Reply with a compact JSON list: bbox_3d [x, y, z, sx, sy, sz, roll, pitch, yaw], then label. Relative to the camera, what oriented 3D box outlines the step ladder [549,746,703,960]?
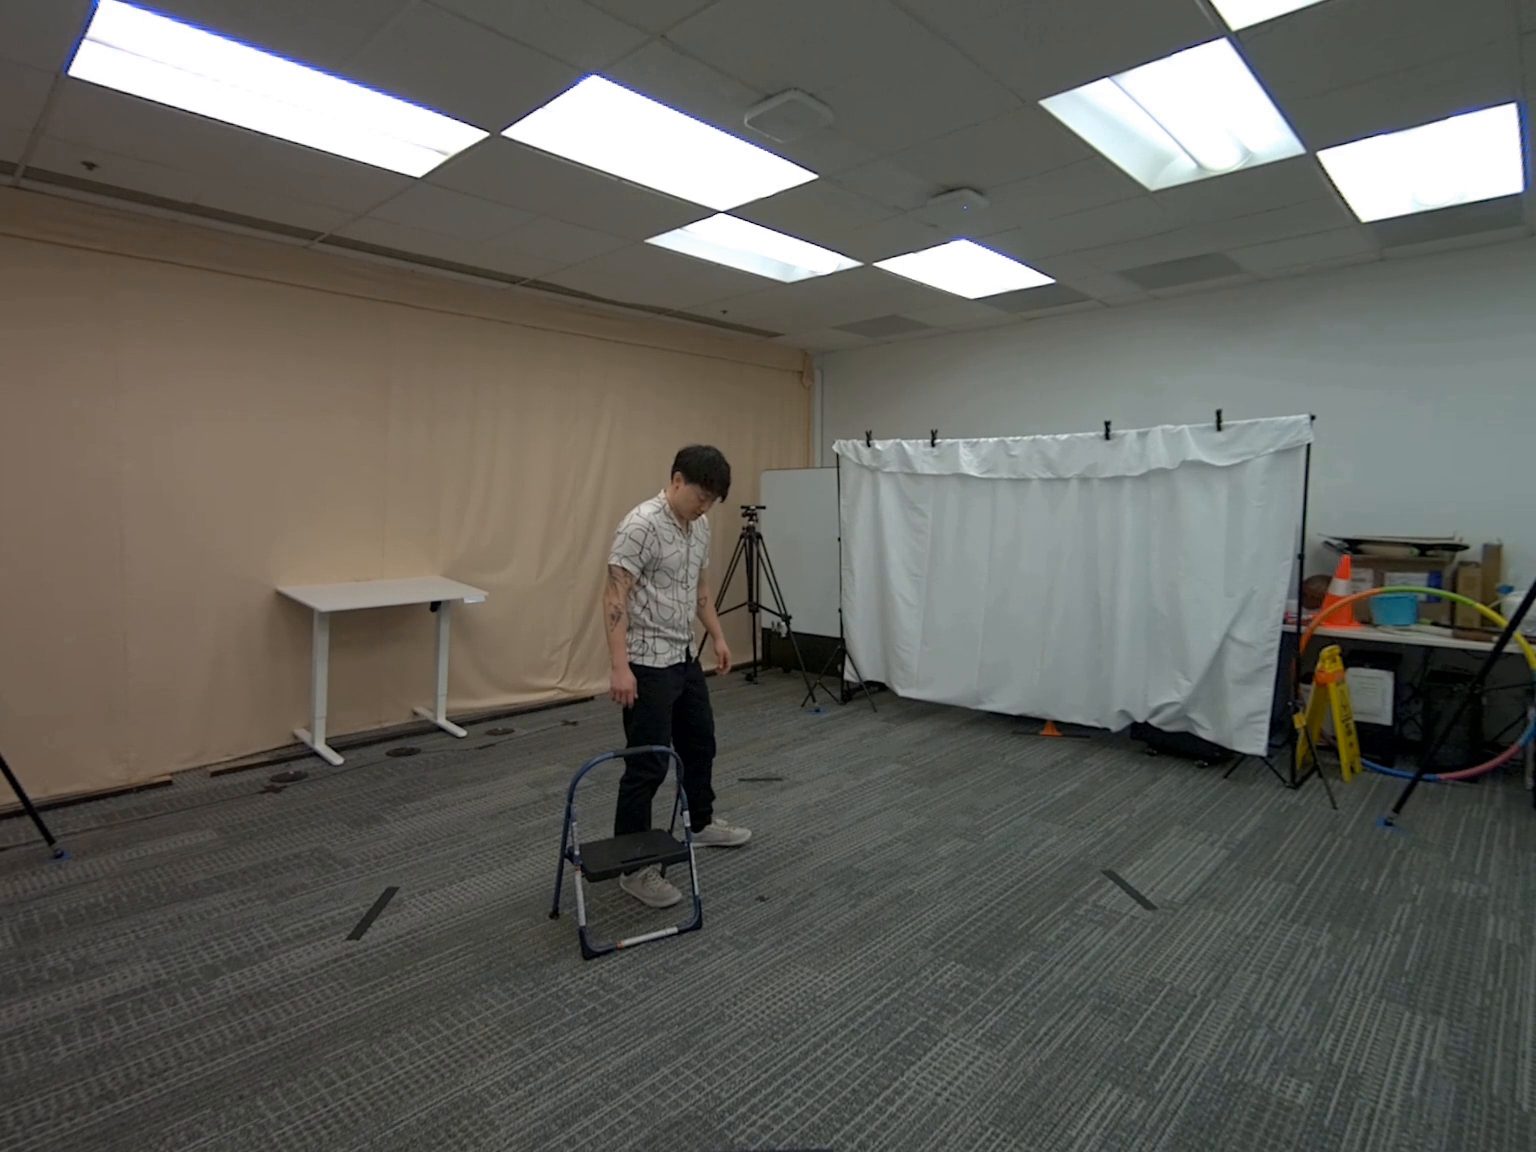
[{"bbox_3d":[-0.476,0.853,2.808,0.419,0.605,0.359,-3,4,-31],"label":"step ladder"}]
